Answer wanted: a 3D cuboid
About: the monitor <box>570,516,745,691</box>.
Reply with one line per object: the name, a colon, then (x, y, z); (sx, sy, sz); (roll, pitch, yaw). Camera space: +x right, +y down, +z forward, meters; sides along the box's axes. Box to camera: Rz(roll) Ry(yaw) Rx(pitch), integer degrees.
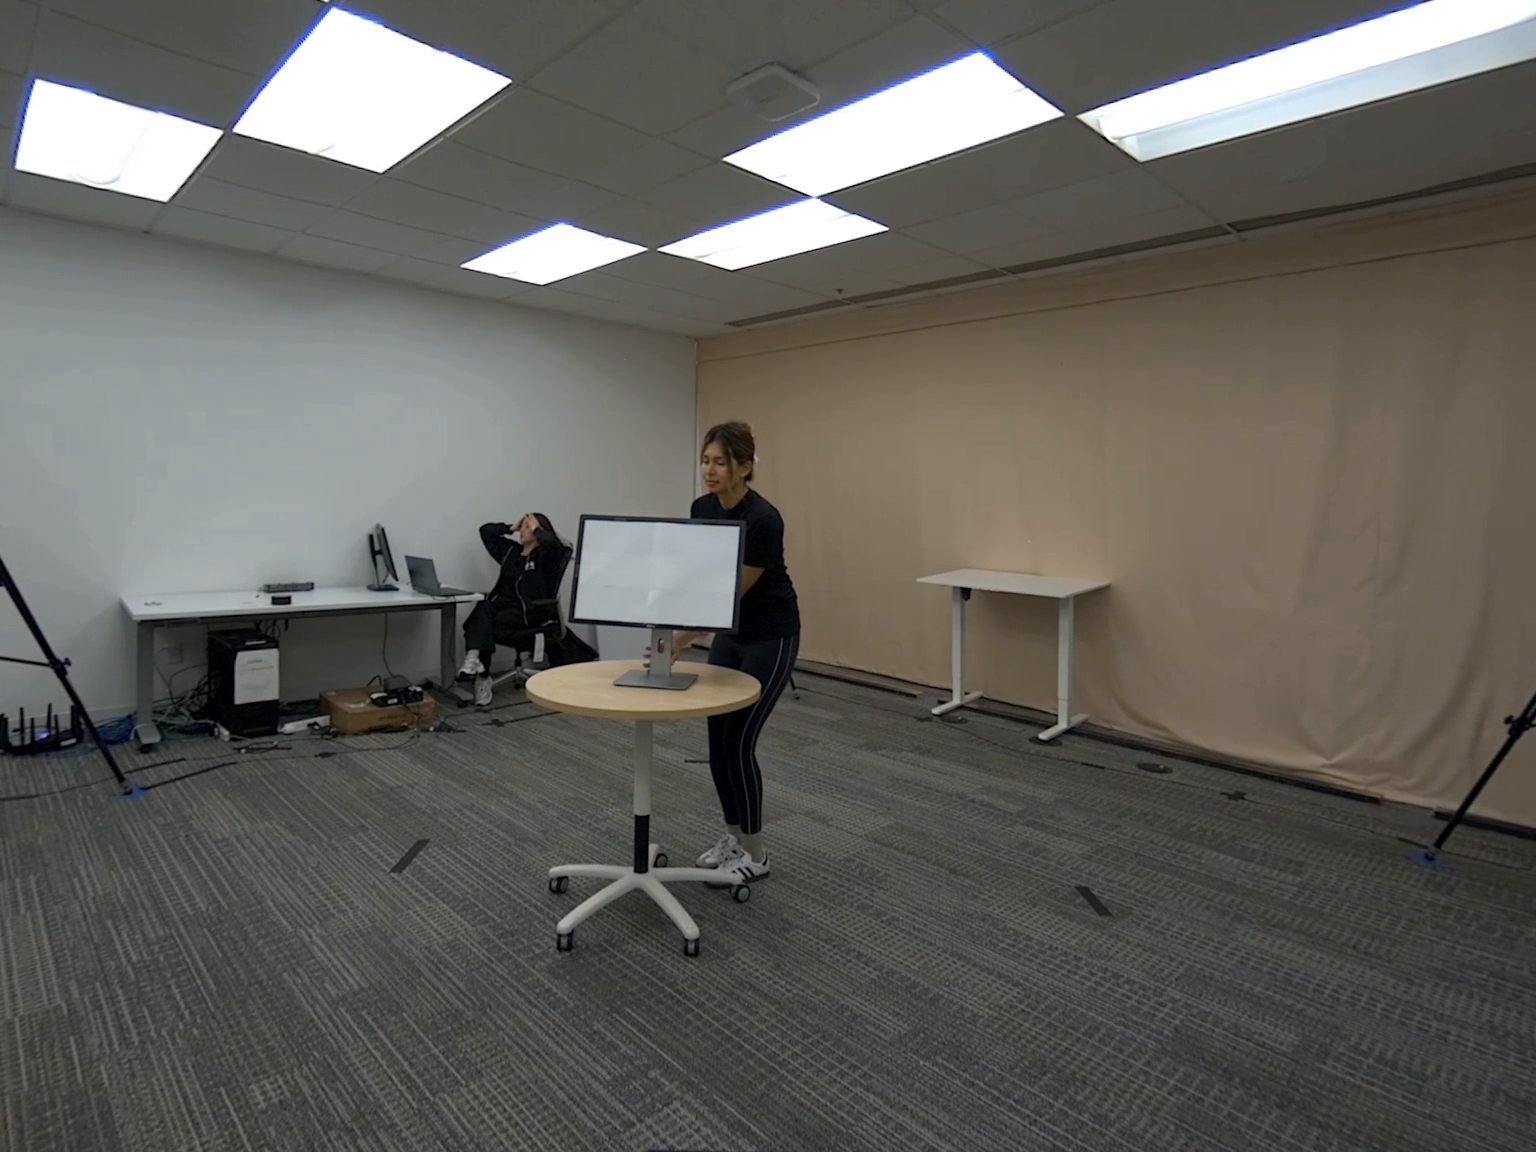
monitor: (-0.364, 0.087, 2.766); (0.543, 0.521, 0.186); (3, 3, 8)
